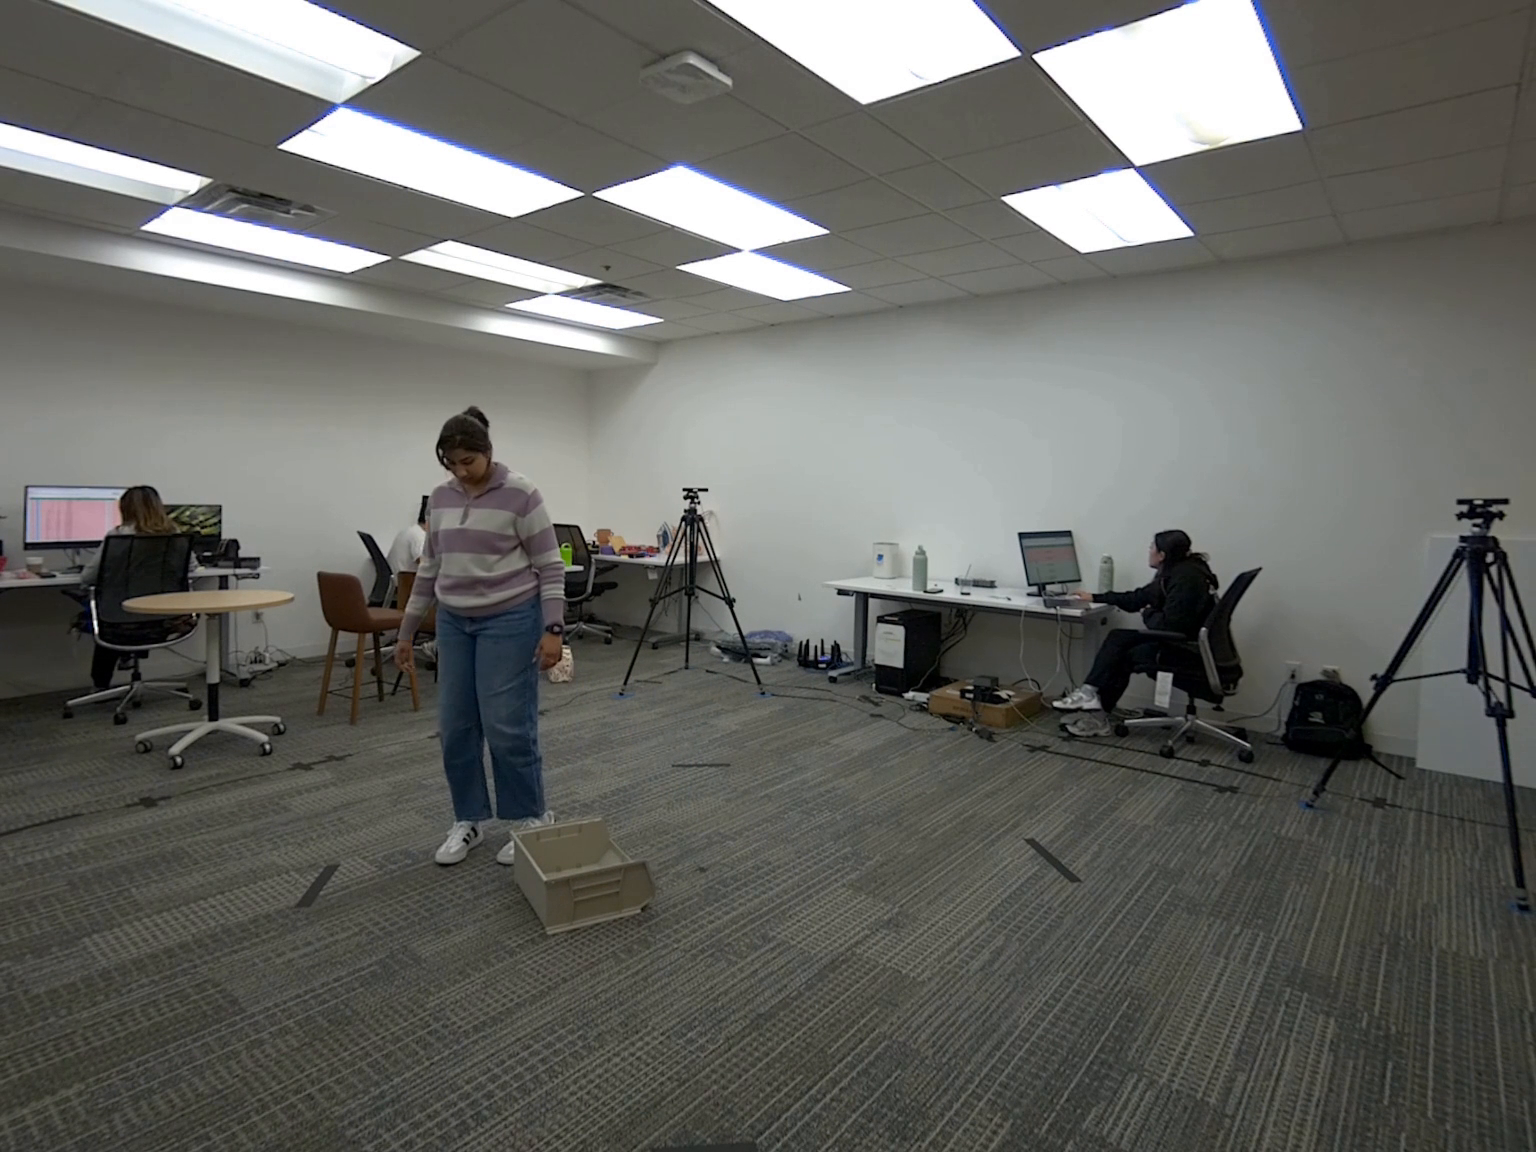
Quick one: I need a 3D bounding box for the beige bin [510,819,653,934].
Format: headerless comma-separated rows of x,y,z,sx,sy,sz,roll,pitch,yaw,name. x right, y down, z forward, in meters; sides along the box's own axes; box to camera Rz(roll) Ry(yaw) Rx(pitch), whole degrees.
-0.647,0.997,2.882,0.367,0.188,0.435,-3,7,-30,beige bin
